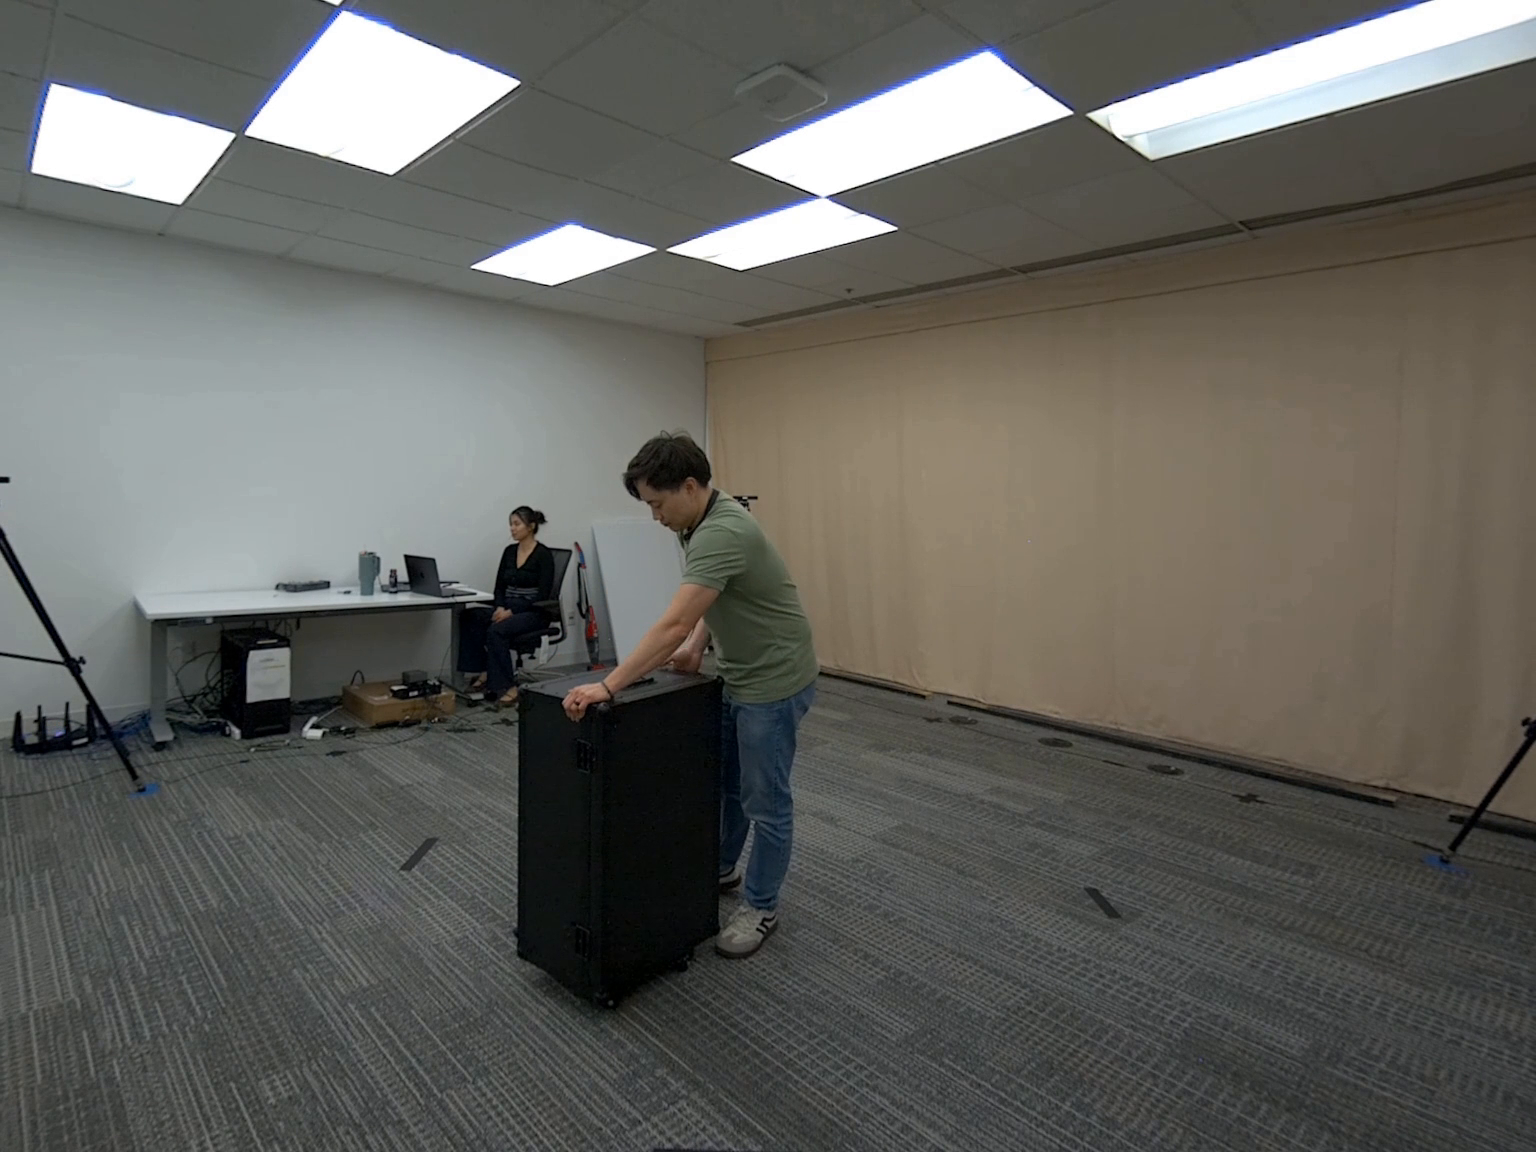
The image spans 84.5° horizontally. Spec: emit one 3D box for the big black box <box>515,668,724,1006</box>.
[{"bbox_3d":[-0.446,0.737,2.444,0.406,0.860,0.510,2,3,38],"label":"big black box"}]
